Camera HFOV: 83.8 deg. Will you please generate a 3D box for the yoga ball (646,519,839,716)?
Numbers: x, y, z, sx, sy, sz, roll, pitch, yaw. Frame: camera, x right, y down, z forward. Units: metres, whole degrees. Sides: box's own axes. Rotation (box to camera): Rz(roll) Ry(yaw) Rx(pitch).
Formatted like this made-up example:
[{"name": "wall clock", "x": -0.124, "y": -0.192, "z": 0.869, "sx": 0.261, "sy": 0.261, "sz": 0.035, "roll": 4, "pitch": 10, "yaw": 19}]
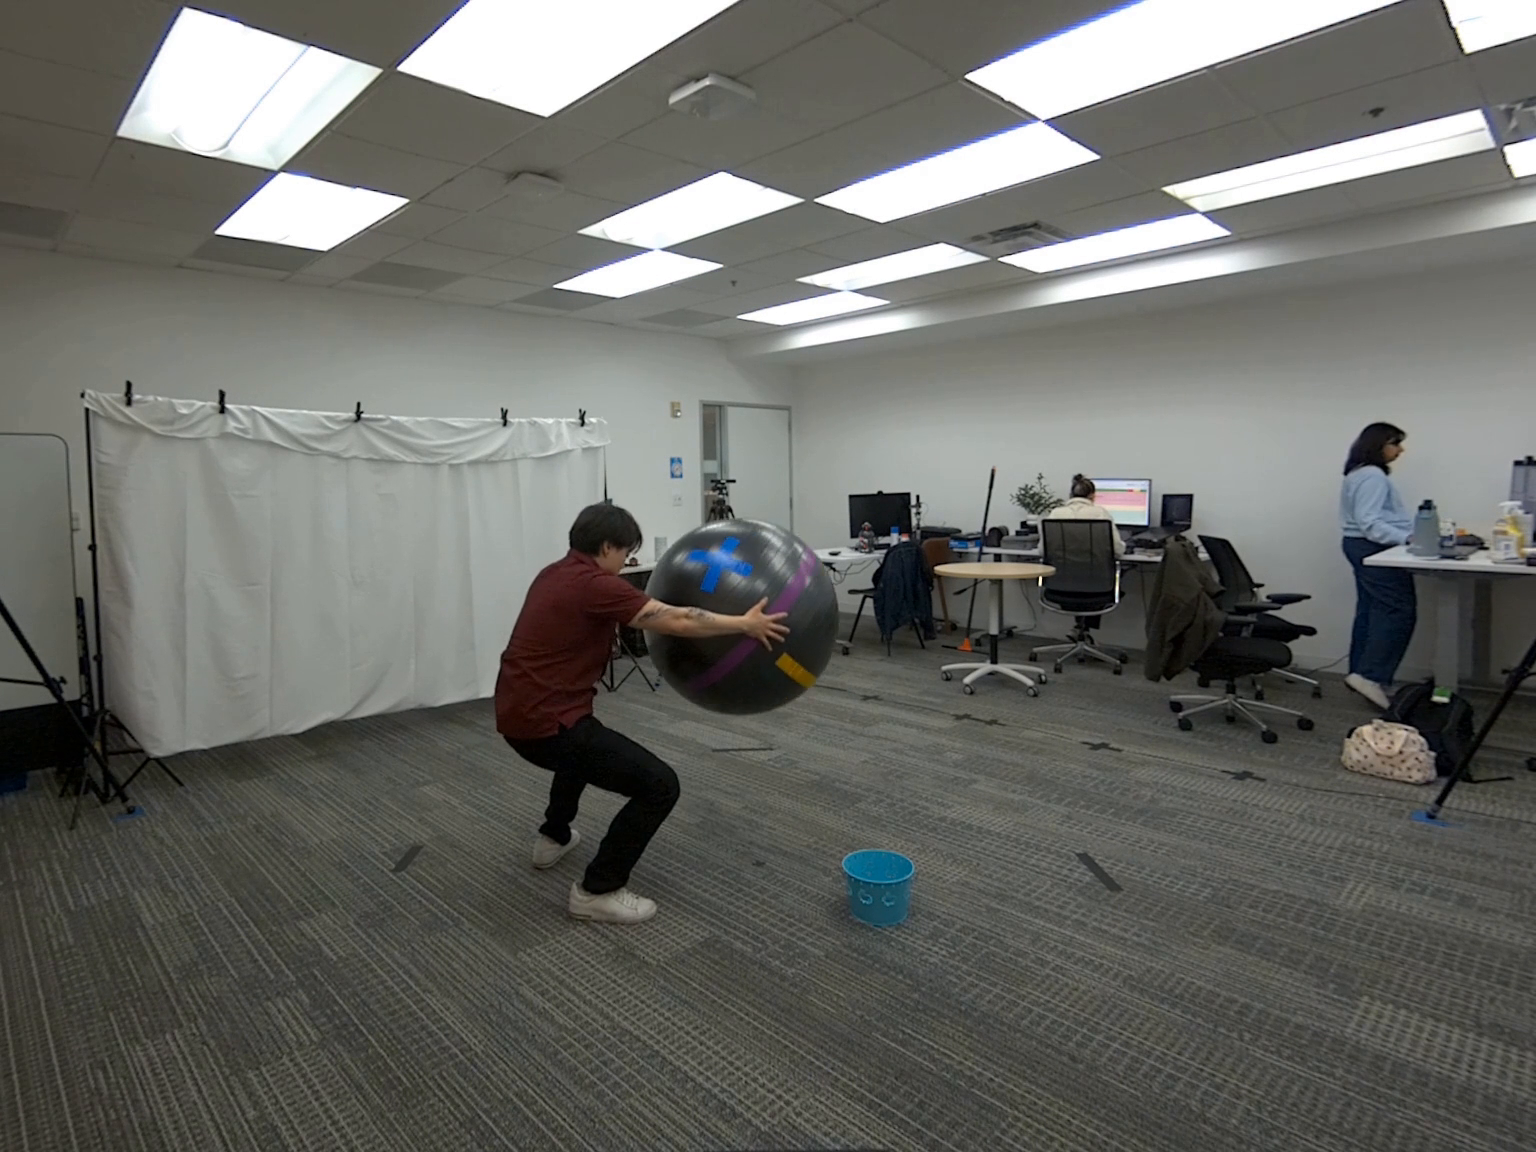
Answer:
[{"name": "yoga ball", "x": -0.109, "y": 0.156, "z": 3.312, "sx": 0.757, "sy": 0.755, "sz": 0.762, "roll": -1, "pitch": 5, "yaw": -2}]
